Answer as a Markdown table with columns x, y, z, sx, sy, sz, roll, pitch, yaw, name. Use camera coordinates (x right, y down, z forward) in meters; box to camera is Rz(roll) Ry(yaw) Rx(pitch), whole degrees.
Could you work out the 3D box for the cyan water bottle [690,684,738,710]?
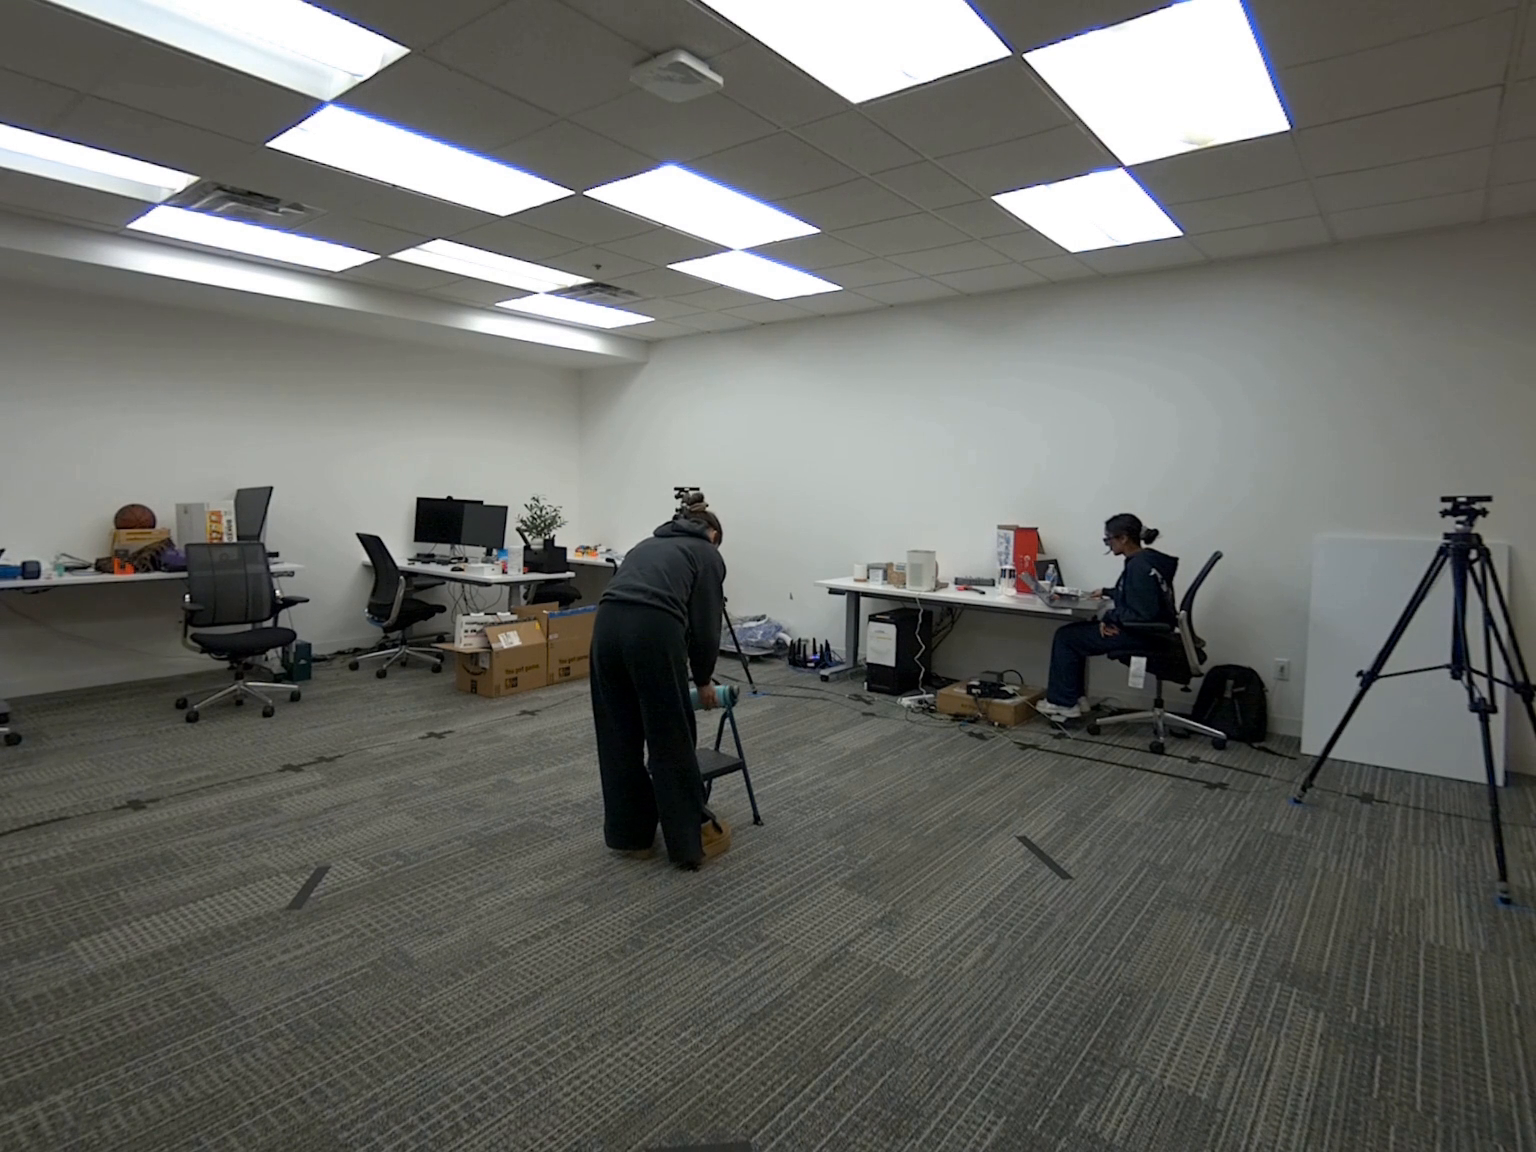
| x | y | z | sx | sy | sz | roll | pitch | yaw | name |
| --- | --- | --- | --- | --- | --- | --- | --- | --- | --- |
| -0.246 | 0.493 | 3.450 | 0.286 | 0.092 | 0.091 | -8 | 3 | 10 | cyan water bottle |
